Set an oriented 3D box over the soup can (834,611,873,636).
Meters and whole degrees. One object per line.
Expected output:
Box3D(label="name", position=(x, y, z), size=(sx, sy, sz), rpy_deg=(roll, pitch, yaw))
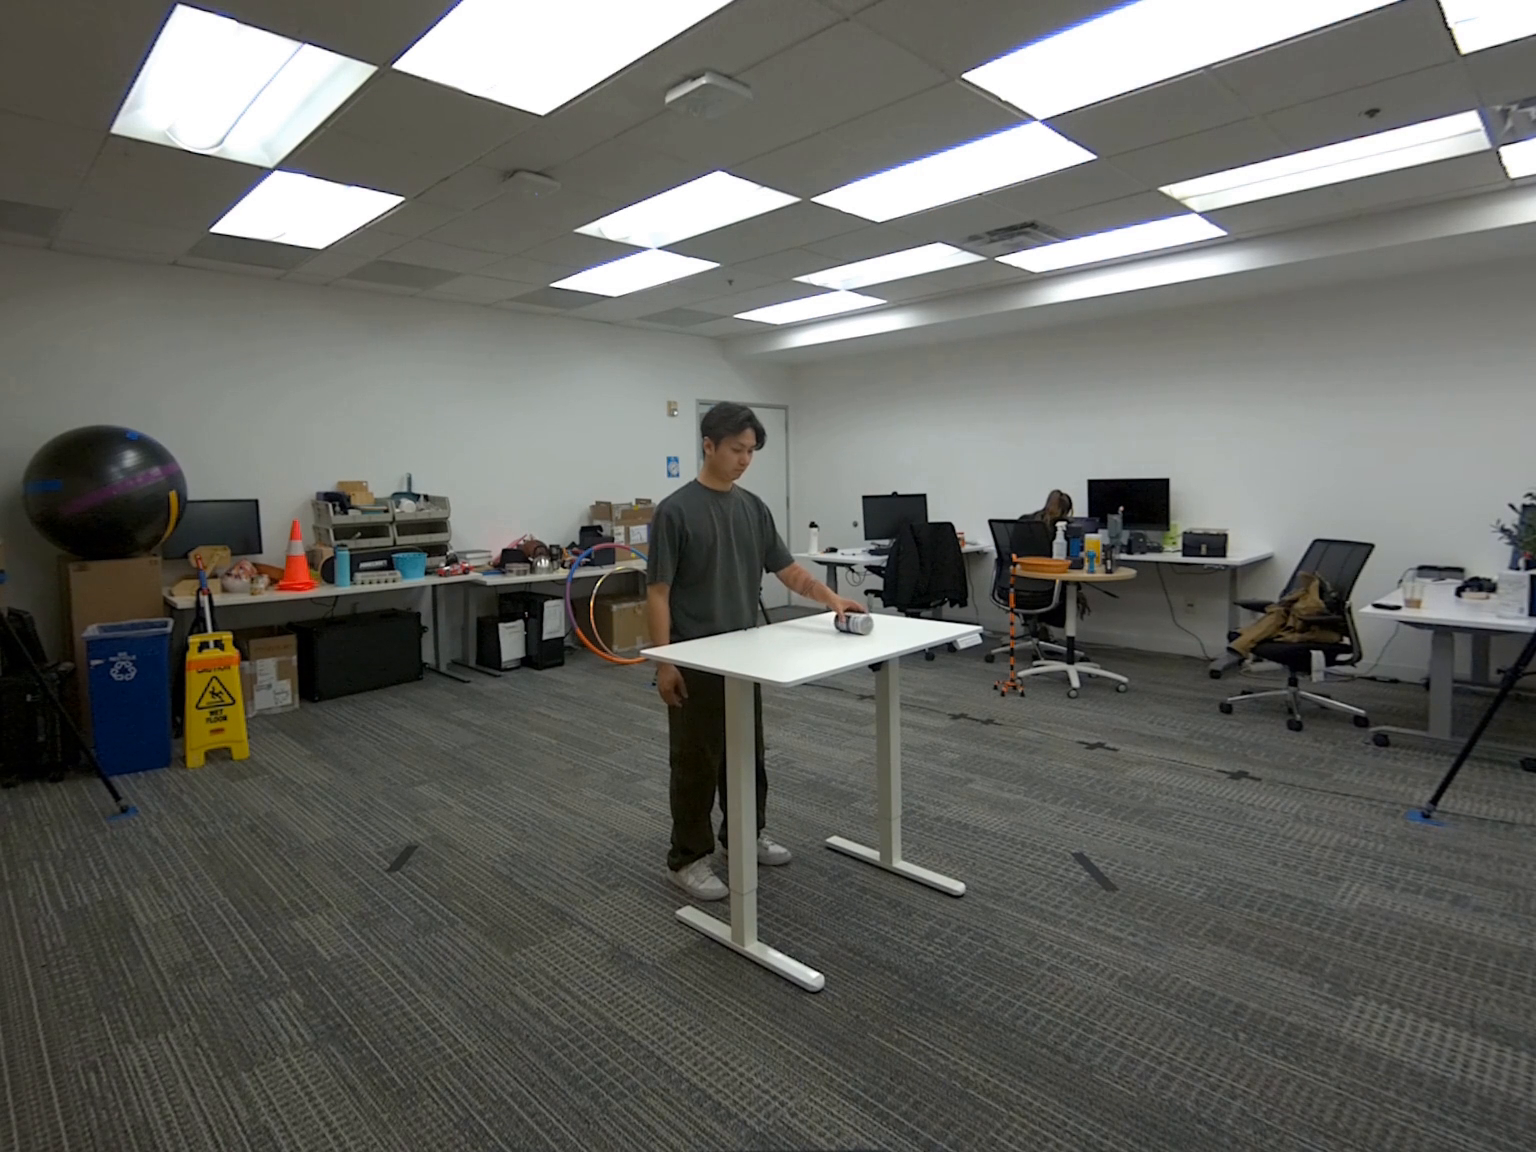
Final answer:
Box3D(label="soup can", position=(0.273, 0.154, 2.816), size=(0.125, 0.067, 0.065), rpy_deg=(1, 5, 40))
